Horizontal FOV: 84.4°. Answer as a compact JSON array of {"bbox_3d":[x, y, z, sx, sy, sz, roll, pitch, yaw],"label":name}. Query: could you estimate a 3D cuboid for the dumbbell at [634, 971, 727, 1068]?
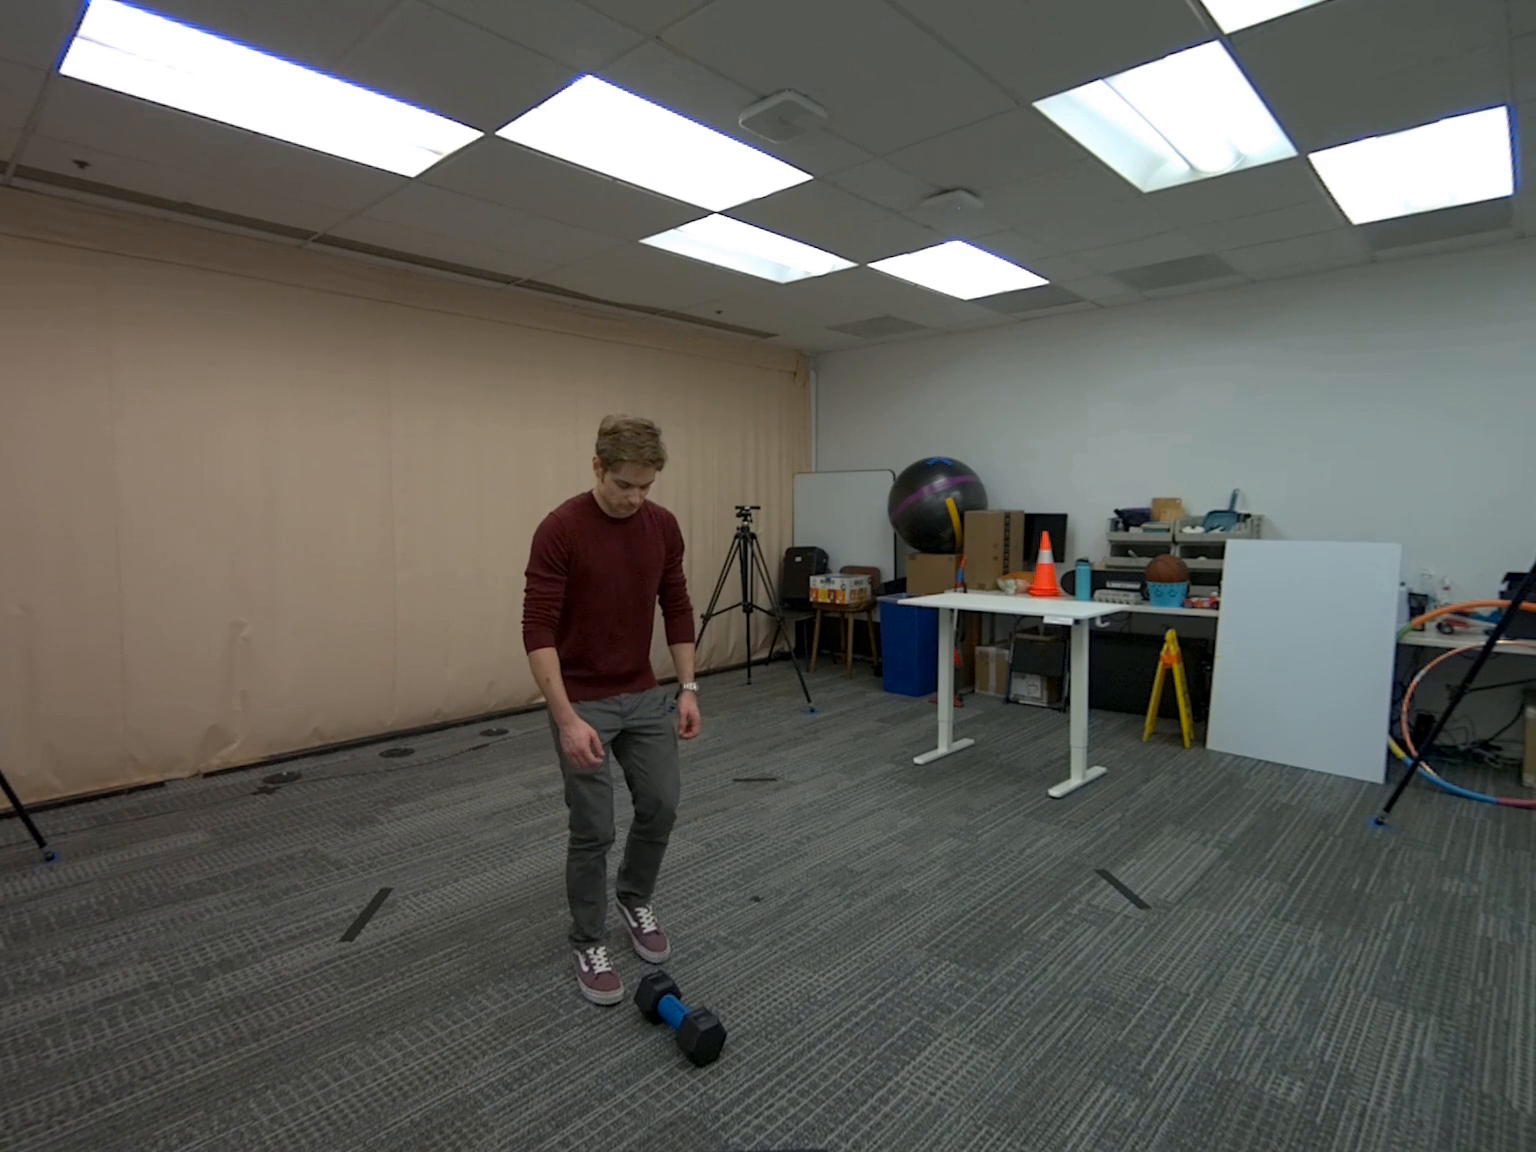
[{"bbox_3d":[-0.234,1.160,2.203,0.107,0.120,0.303,-39,25,-28],"label":"dumbbell"}]
